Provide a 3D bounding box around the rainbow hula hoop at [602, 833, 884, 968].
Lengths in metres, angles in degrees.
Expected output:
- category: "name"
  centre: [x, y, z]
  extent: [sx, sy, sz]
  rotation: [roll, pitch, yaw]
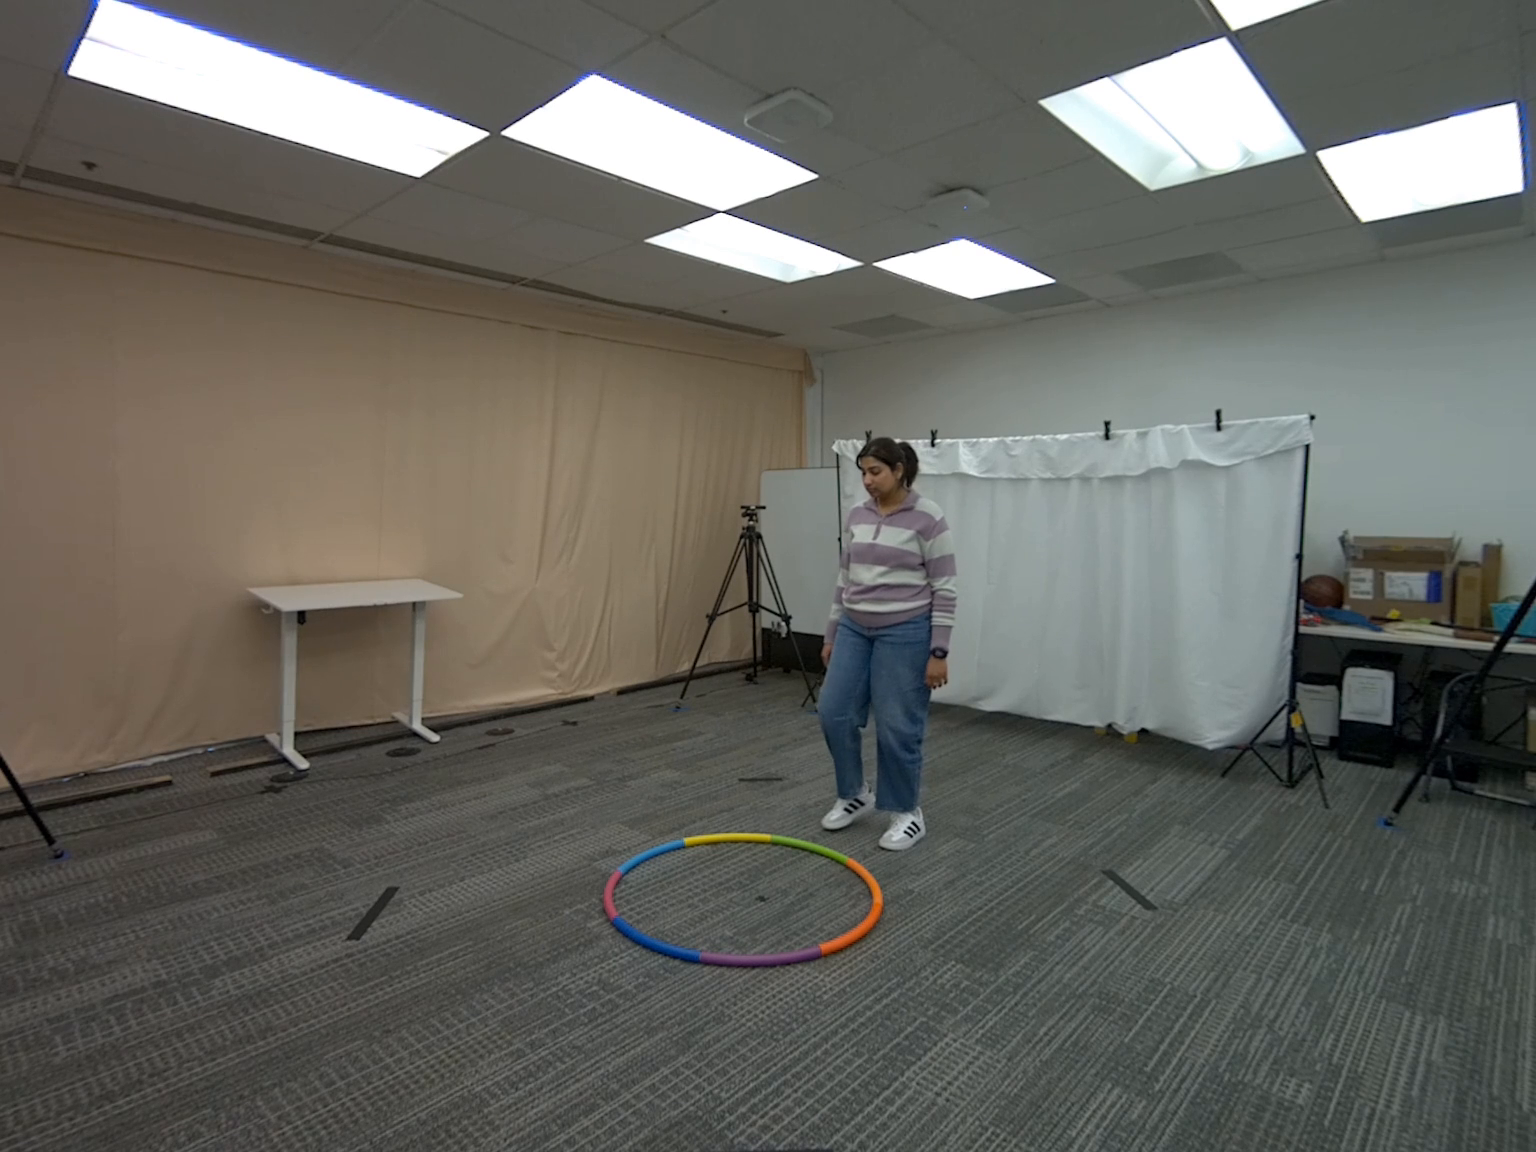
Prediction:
- category: "rainbow hula hoop"
  centre: [-0.092, 1.109, 3.021]
  extent: [0.978, 0.035, 0.982]
  rotation: [-1, 5, -2]
